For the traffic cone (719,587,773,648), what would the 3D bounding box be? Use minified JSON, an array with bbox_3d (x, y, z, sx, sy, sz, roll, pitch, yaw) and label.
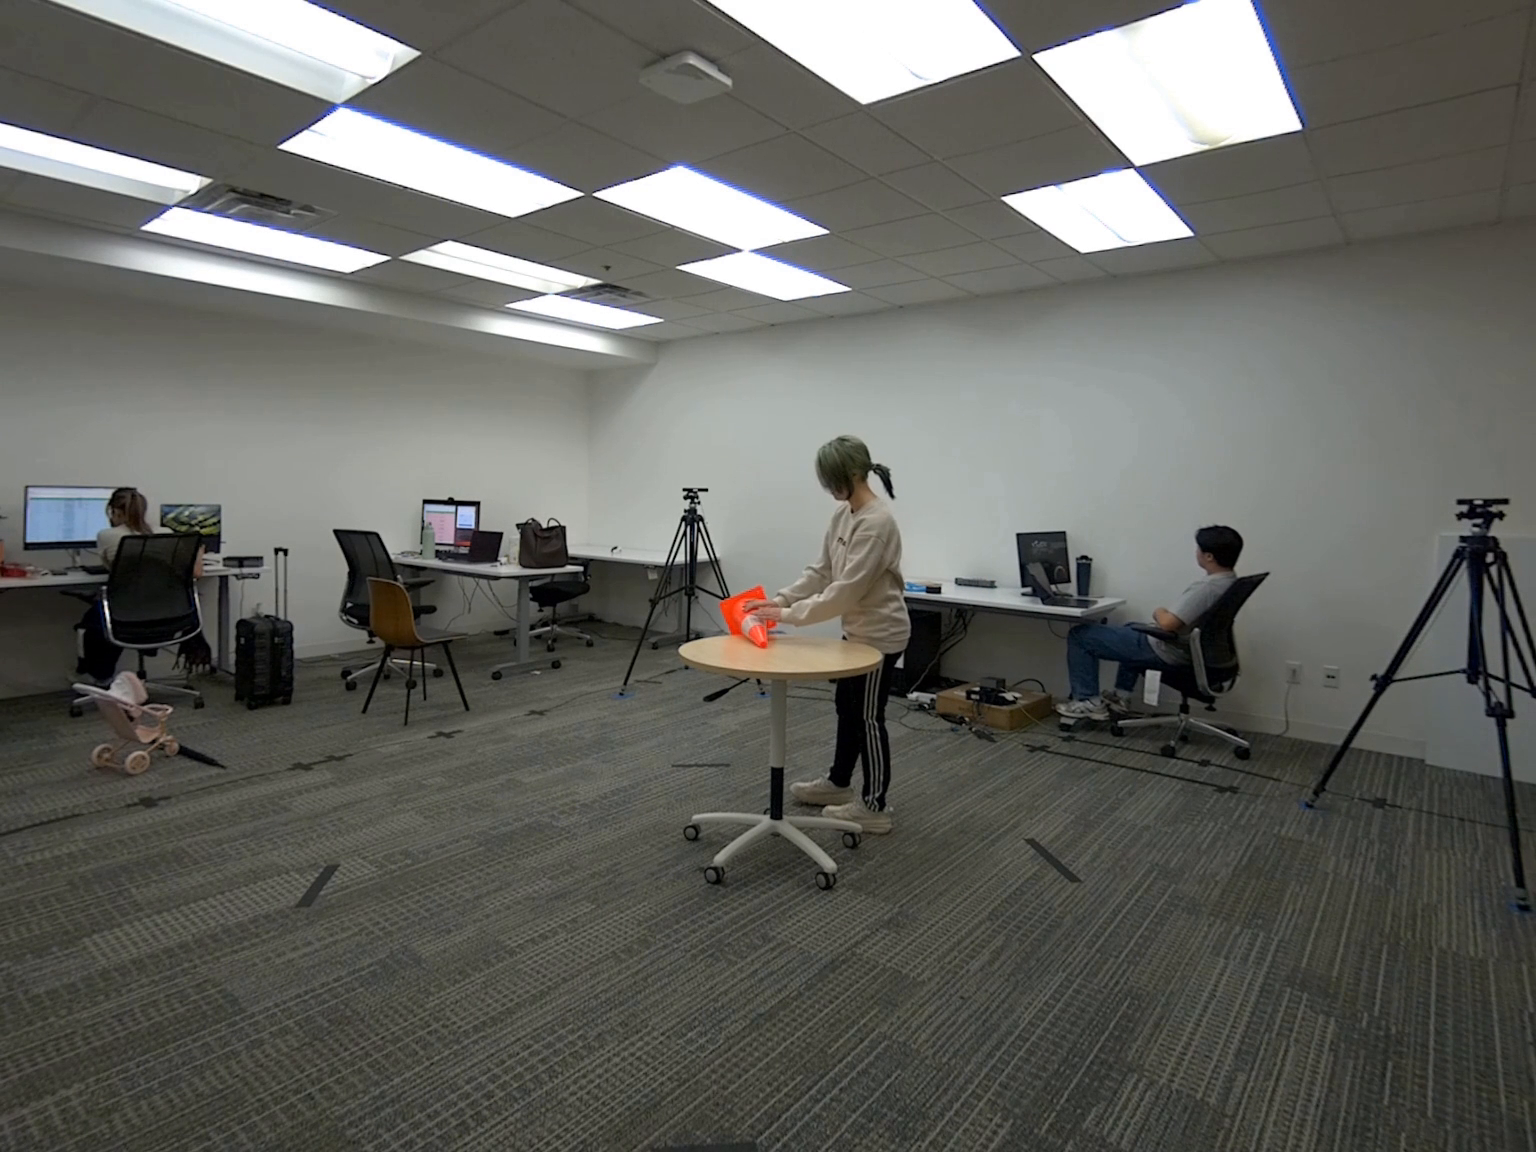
[{"bbox_3d":[-0.069,0.212,3.454,0.205,0.199,0.391,-24,17,0],"label":"traffic cone"}]
